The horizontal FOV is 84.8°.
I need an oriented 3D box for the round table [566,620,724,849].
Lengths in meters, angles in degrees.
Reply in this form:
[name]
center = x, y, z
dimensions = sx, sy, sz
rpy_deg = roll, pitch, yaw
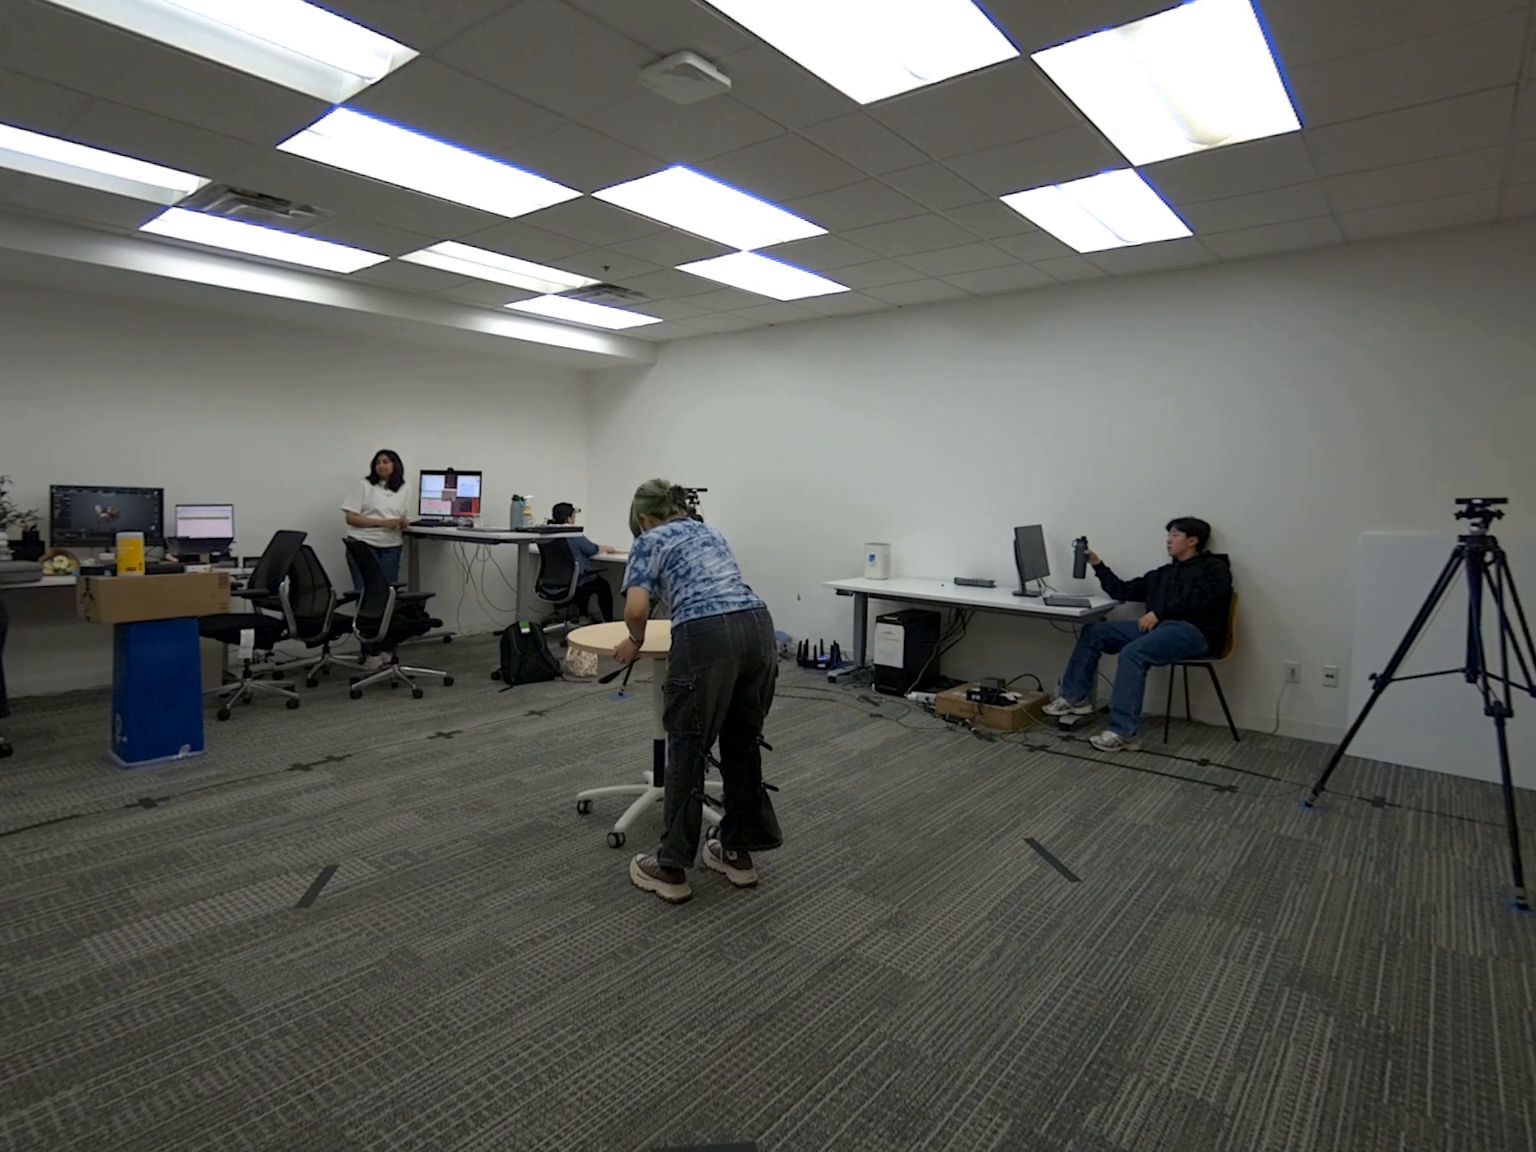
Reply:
[round table]
center = -0.472, 0.633, 3.567
dimensions = 0.763, 0.791, 0.768
rpy_deg = 1, 4, -2
